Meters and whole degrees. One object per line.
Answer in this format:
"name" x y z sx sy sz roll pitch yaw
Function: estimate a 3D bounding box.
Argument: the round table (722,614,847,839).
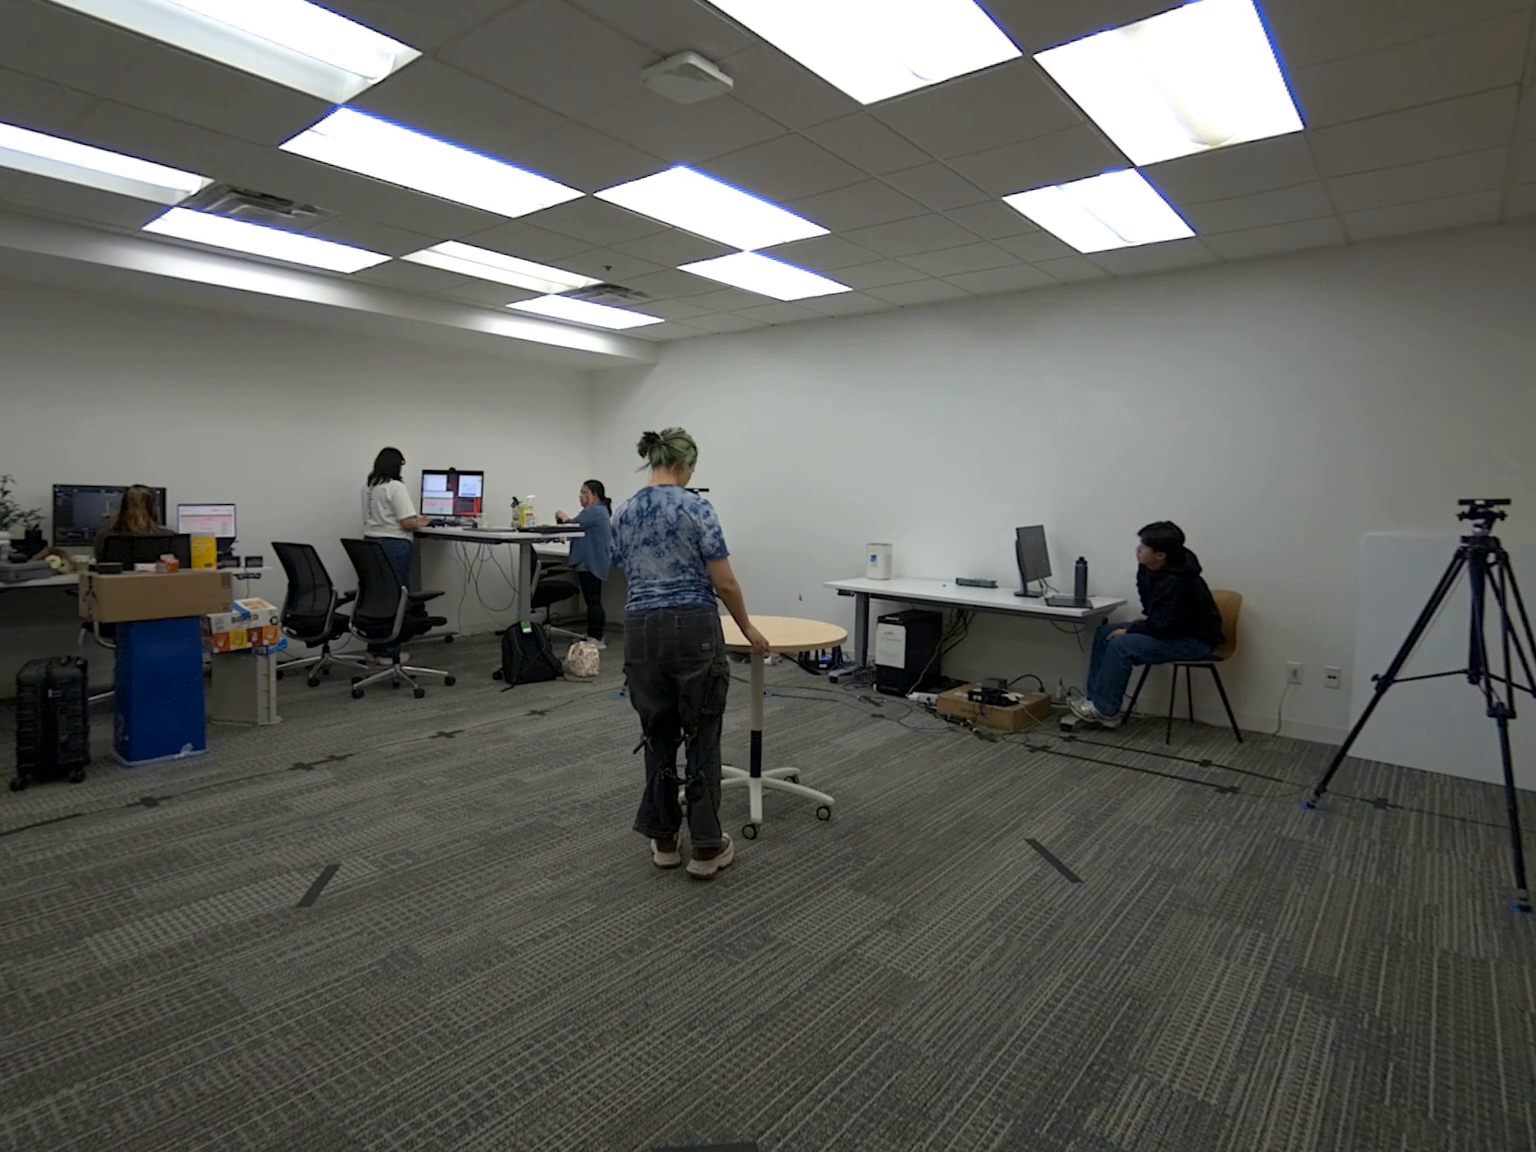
"round table" -0.053 0.624 3.711 0.763 0.791 0.768 2 4 -2
